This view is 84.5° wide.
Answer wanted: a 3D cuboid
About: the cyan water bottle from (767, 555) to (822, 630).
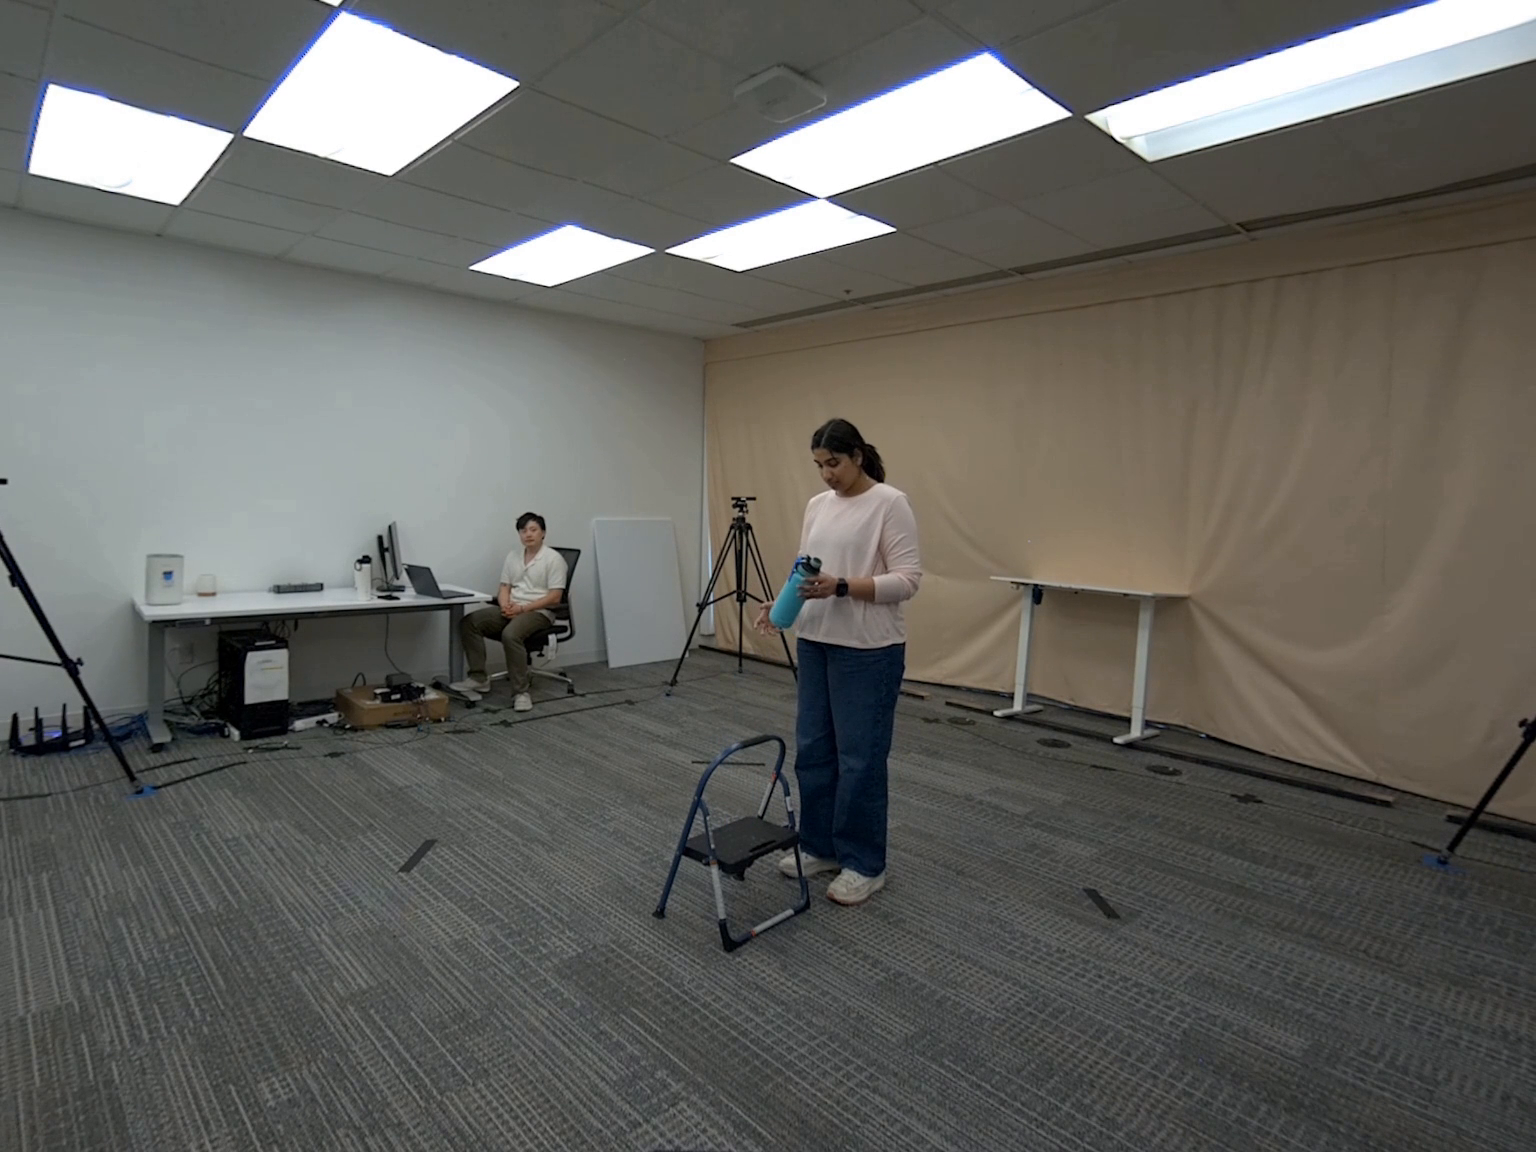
[{"bbox_3d":[0.083,0.049,2.810,0.091,0.281,0.094,17,36,-14],"label":"cyan water bottle"}]
